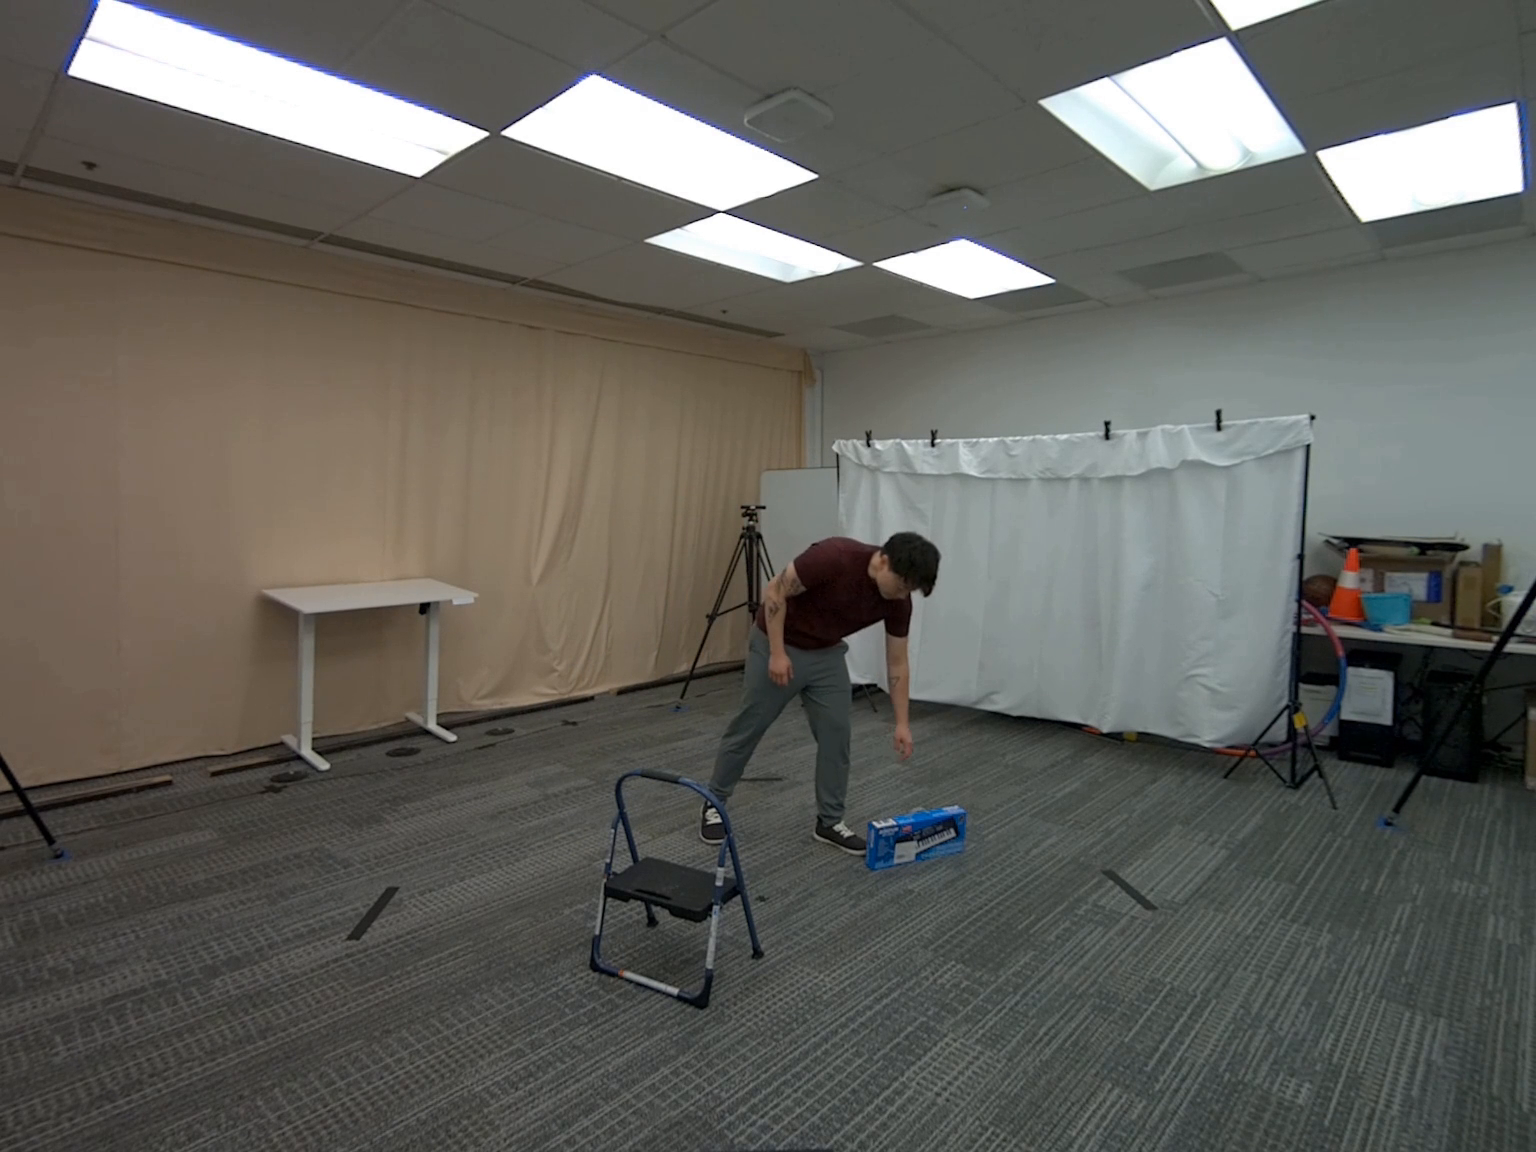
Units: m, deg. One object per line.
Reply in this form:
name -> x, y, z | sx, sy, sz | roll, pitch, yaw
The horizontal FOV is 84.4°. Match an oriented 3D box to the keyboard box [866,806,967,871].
keyboard box -> 0.585, 1.029, 3.309 | 0.426, 0.175, 0.061 | -2, 10, -25
